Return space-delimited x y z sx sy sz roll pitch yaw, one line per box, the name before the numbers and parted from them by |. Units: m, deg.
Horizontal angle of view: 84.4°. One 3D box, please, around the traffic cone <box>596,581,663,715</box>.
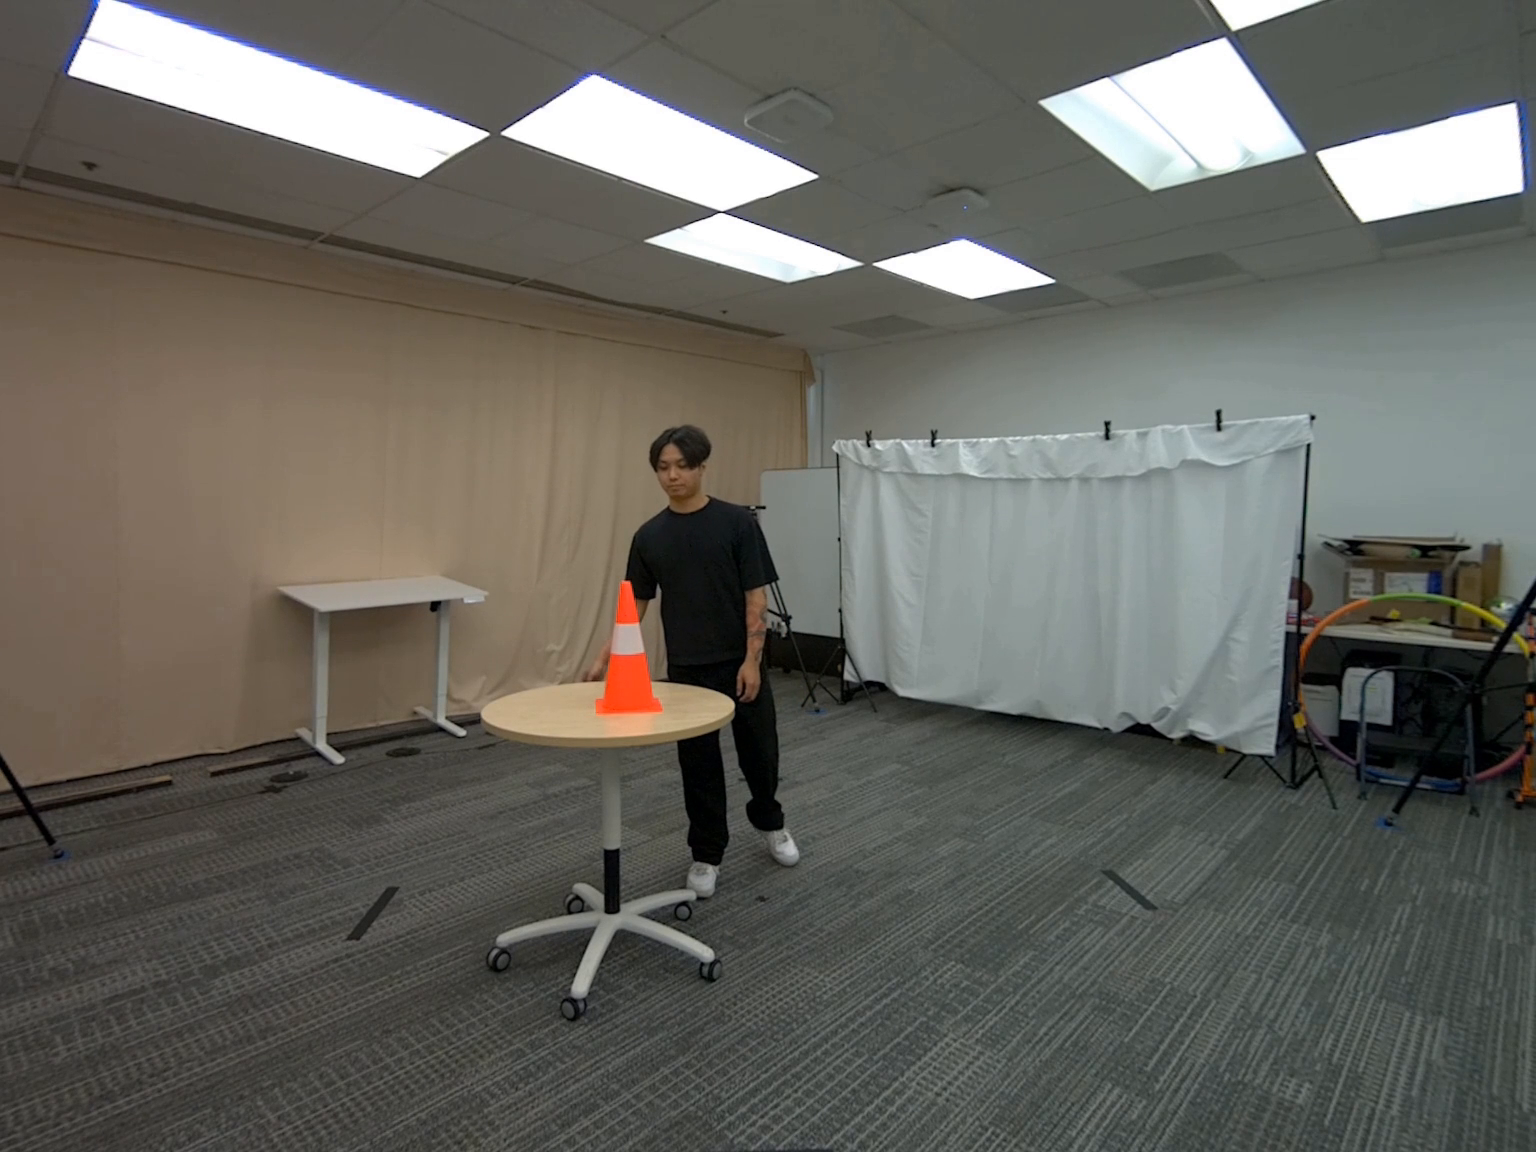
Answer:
traffic cone | -0.427 0.214 2.563 0.201 0.383 0.207 0 2 -11
